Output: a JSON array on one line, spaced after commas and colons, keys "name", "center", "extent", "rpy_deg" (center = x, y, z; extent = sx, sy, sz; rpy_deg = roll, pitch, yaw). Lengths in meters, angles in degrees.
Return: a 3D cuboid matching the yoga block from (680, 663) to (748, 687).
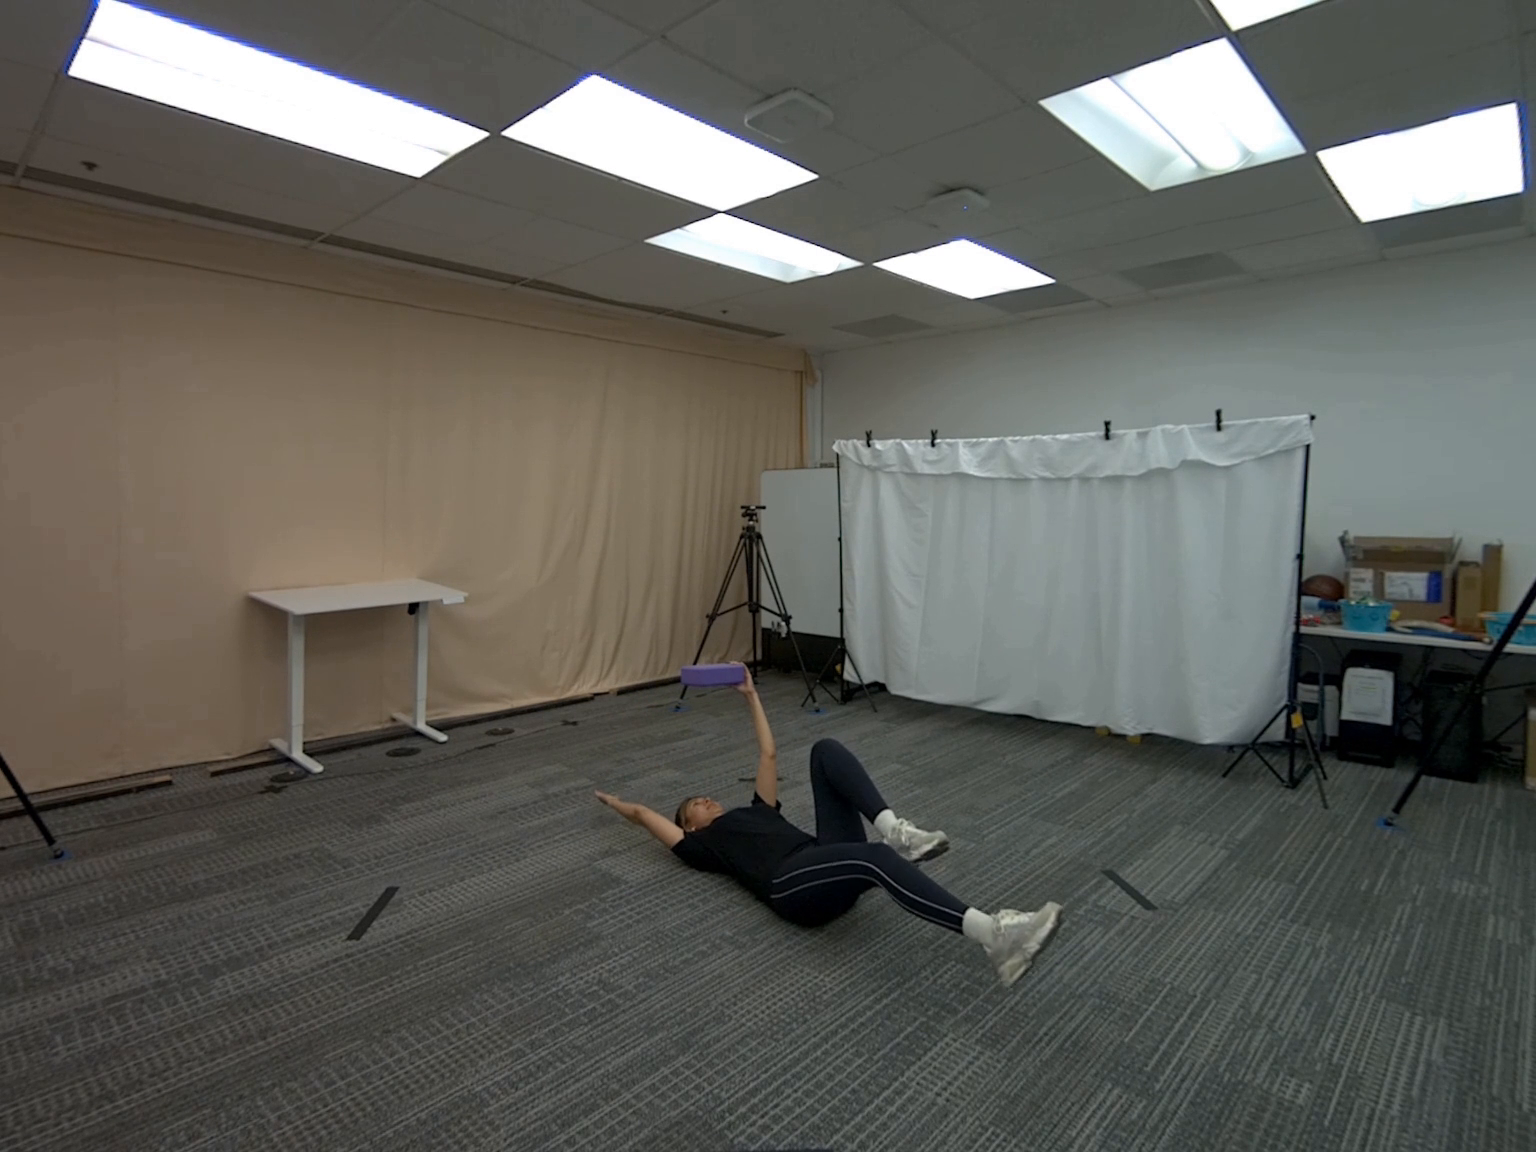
[{"name": "yoga block", "center": [-0.232, 0.410, 3.504], "extent": [0.223, 0.076, 0.153], "rpy_deg": [0, -2, -32]}]
